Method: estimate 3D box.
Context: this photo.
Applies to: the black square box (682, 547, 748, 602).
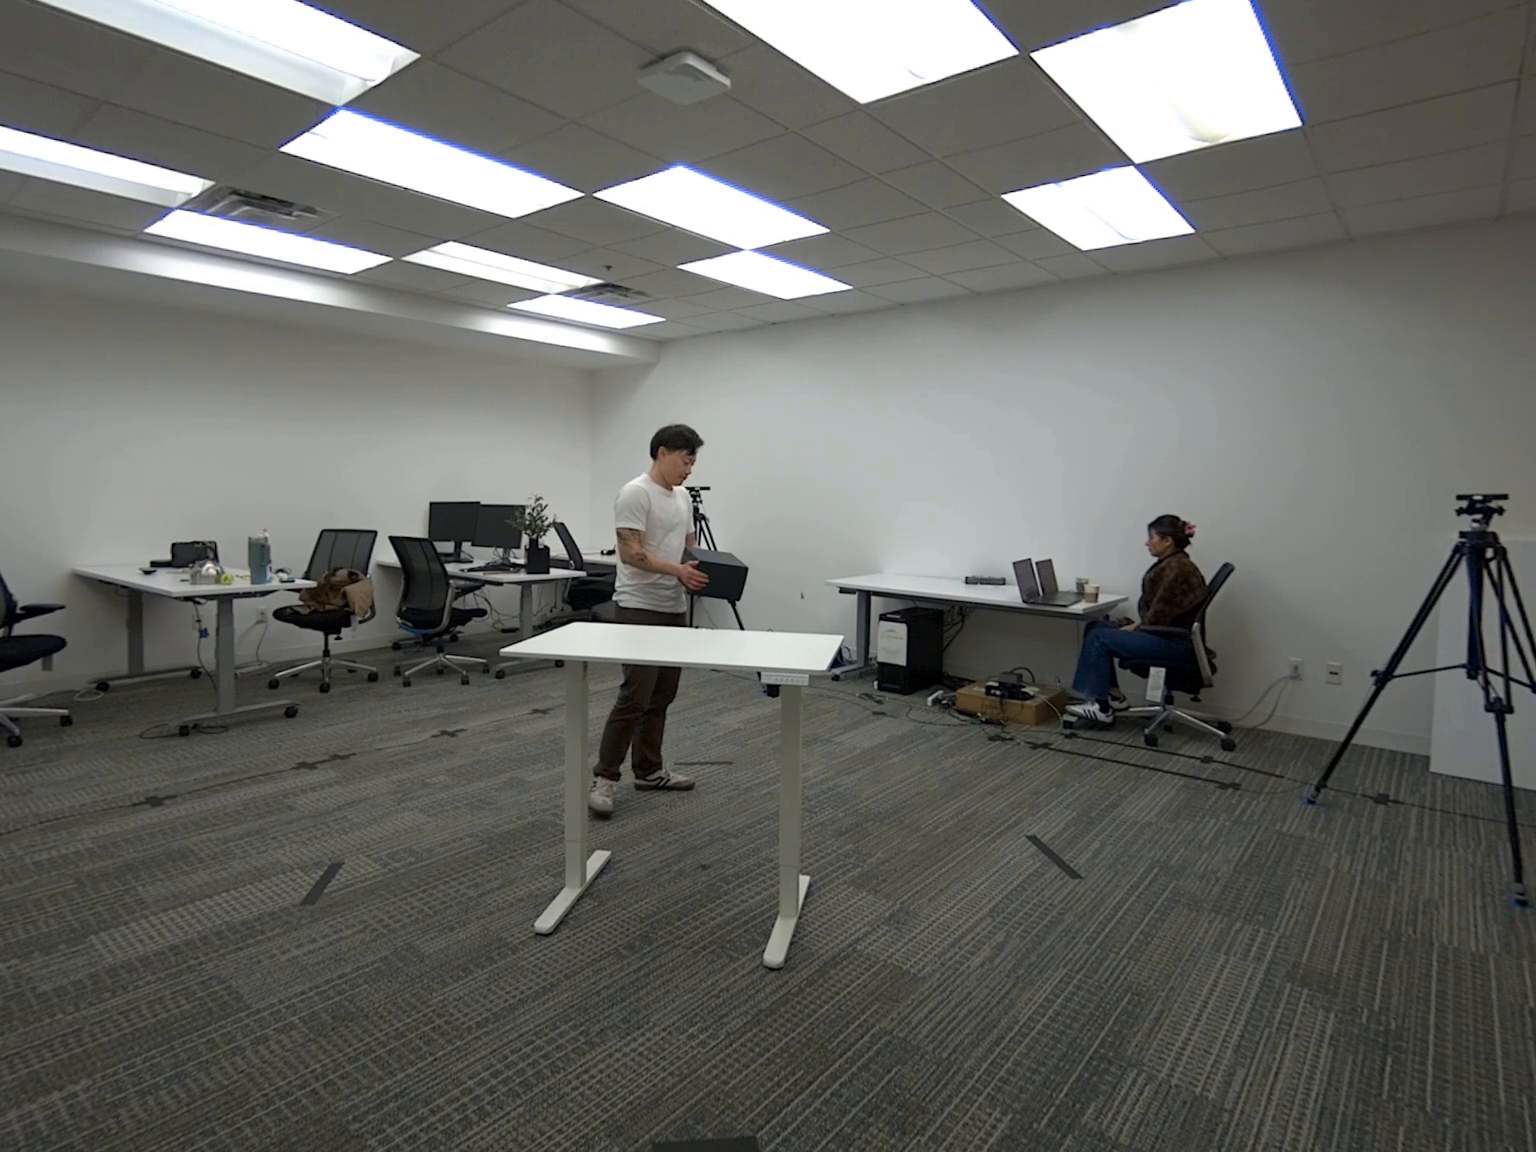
[{"bbox_3d":[-0.258,-0.014,3.677,0.223,0.154,0.224,7,13,-22],"label":"black square box"}]
